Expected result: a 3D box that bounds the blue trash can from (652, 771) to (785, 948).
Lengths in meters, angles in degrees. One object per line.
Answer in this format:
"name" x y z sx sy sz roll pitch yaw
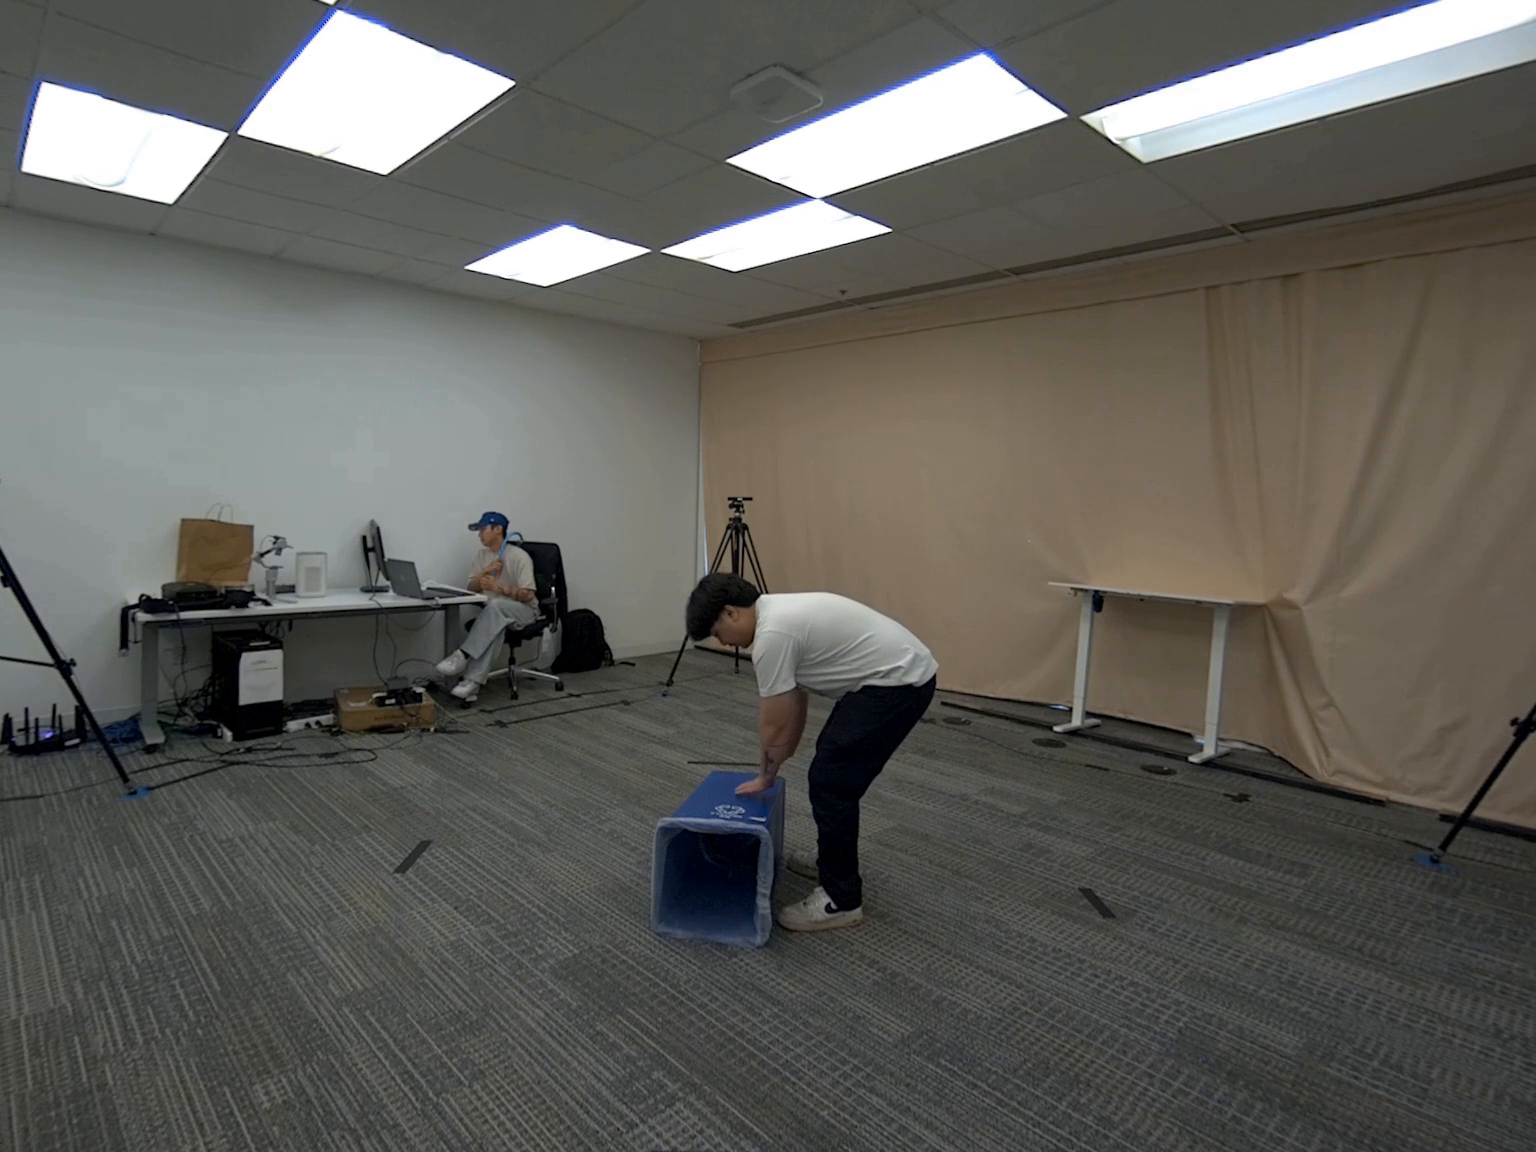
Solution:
"blue trash can" -0.145 0.950 2.981 0.376 0.378 0.709 2 2 7
